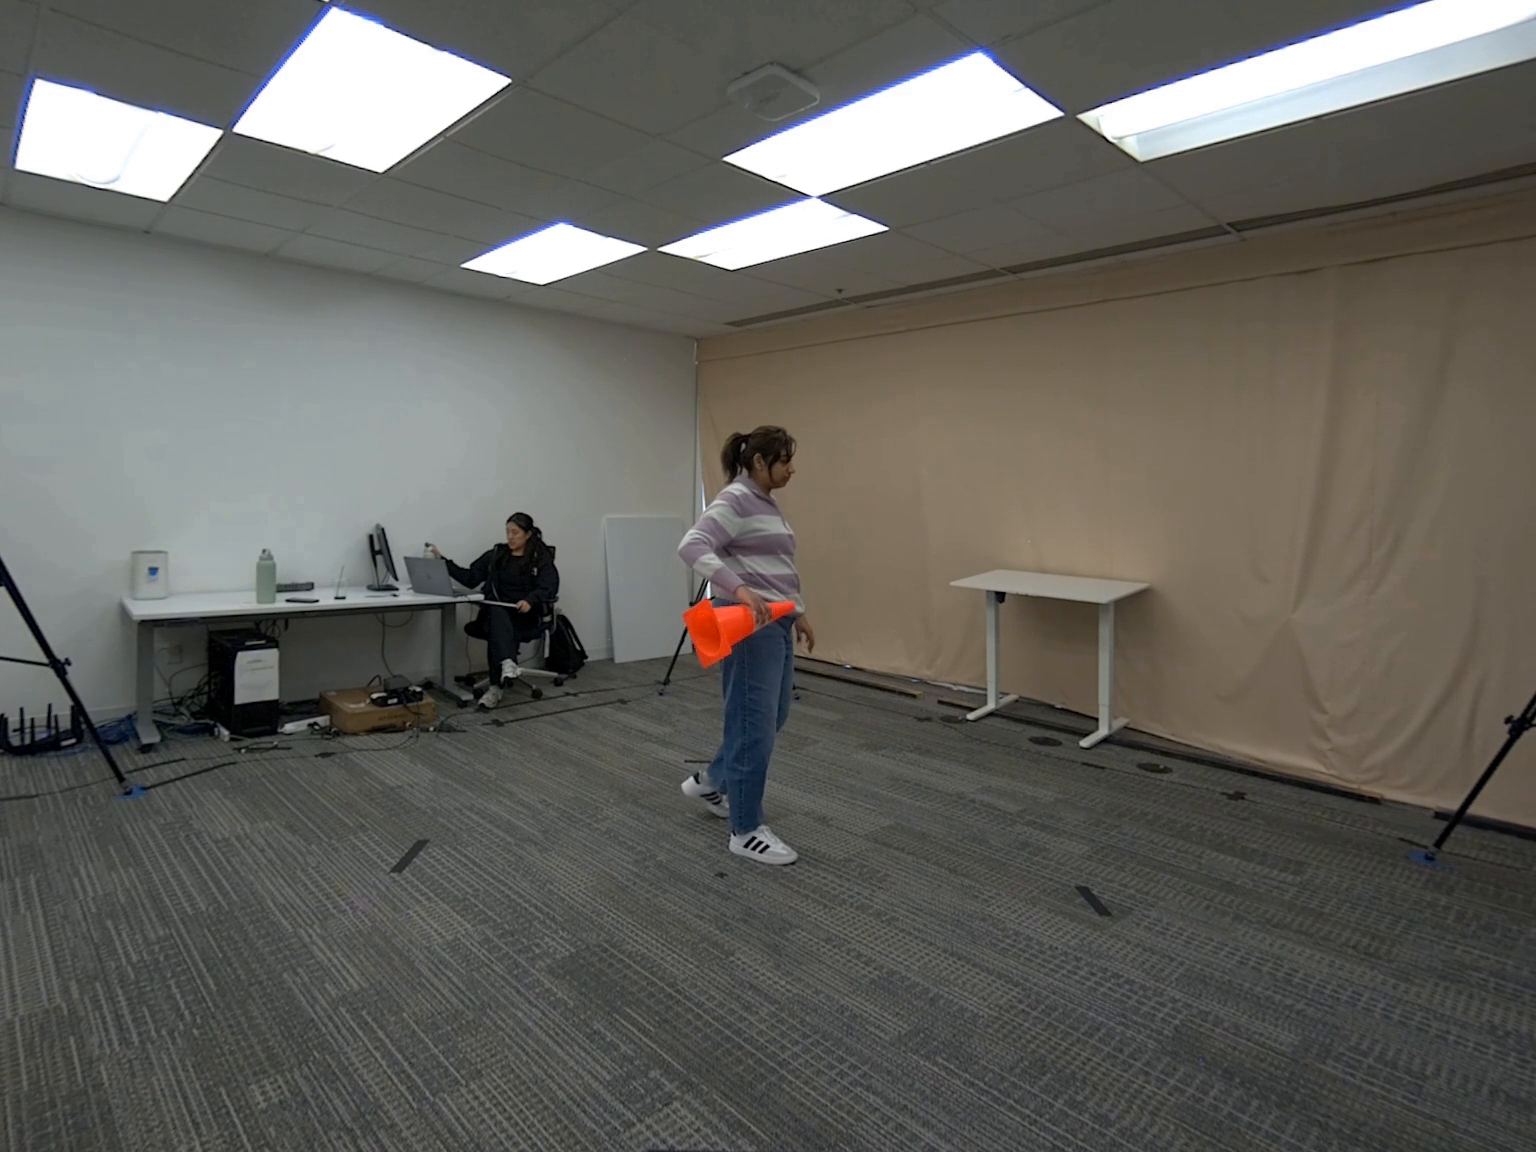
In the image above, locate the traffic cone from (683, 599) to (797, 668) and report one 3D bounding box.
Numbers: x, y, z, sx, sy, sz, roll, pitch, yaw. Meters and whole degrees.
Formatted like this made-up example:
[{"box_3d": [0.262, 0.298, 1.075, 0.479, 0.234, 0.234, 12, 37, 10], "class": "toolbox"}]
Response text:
[{"box_3d": [-0.082, 0.156, 2.895, 0.377, 0.205, 0.206, -14, -12, -39], "class": "traffic cone"}]
